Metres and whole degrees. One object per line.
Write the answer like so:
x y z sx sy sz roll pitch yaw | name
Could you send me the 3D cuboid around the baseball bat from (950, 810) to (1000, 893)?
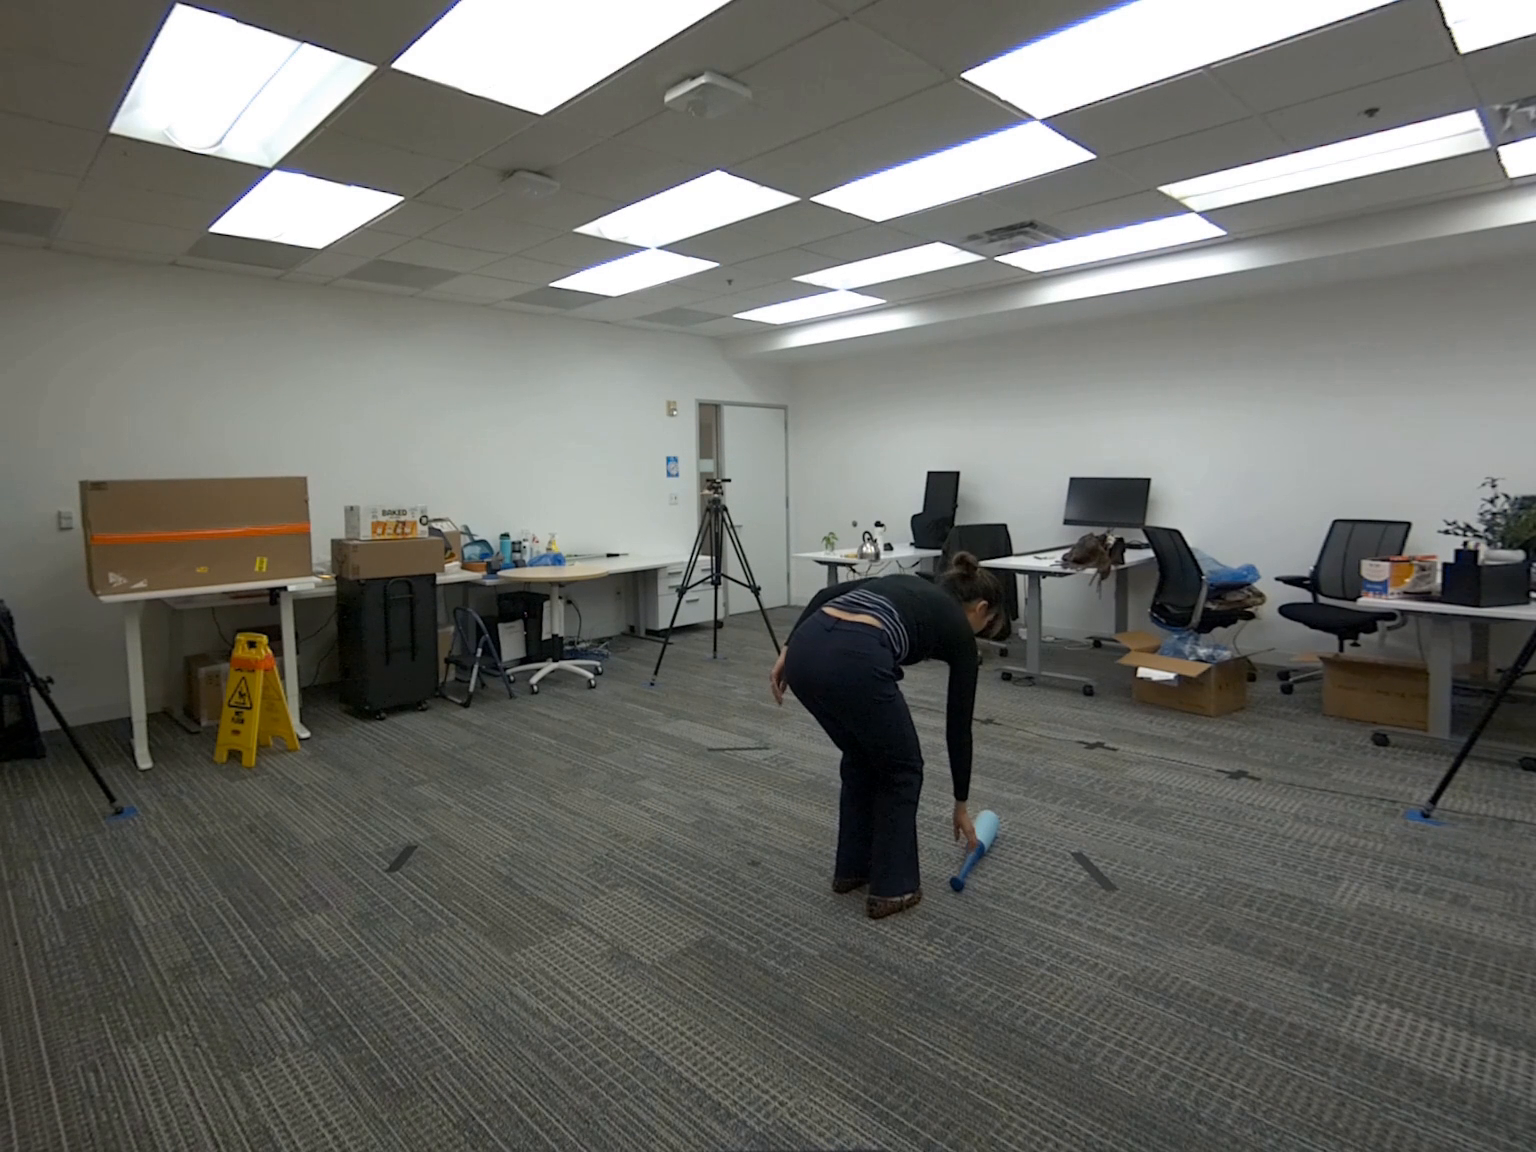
0.752 0.993 3.096 0.091 0.088 0.534 1 9 24 | baseball bat
